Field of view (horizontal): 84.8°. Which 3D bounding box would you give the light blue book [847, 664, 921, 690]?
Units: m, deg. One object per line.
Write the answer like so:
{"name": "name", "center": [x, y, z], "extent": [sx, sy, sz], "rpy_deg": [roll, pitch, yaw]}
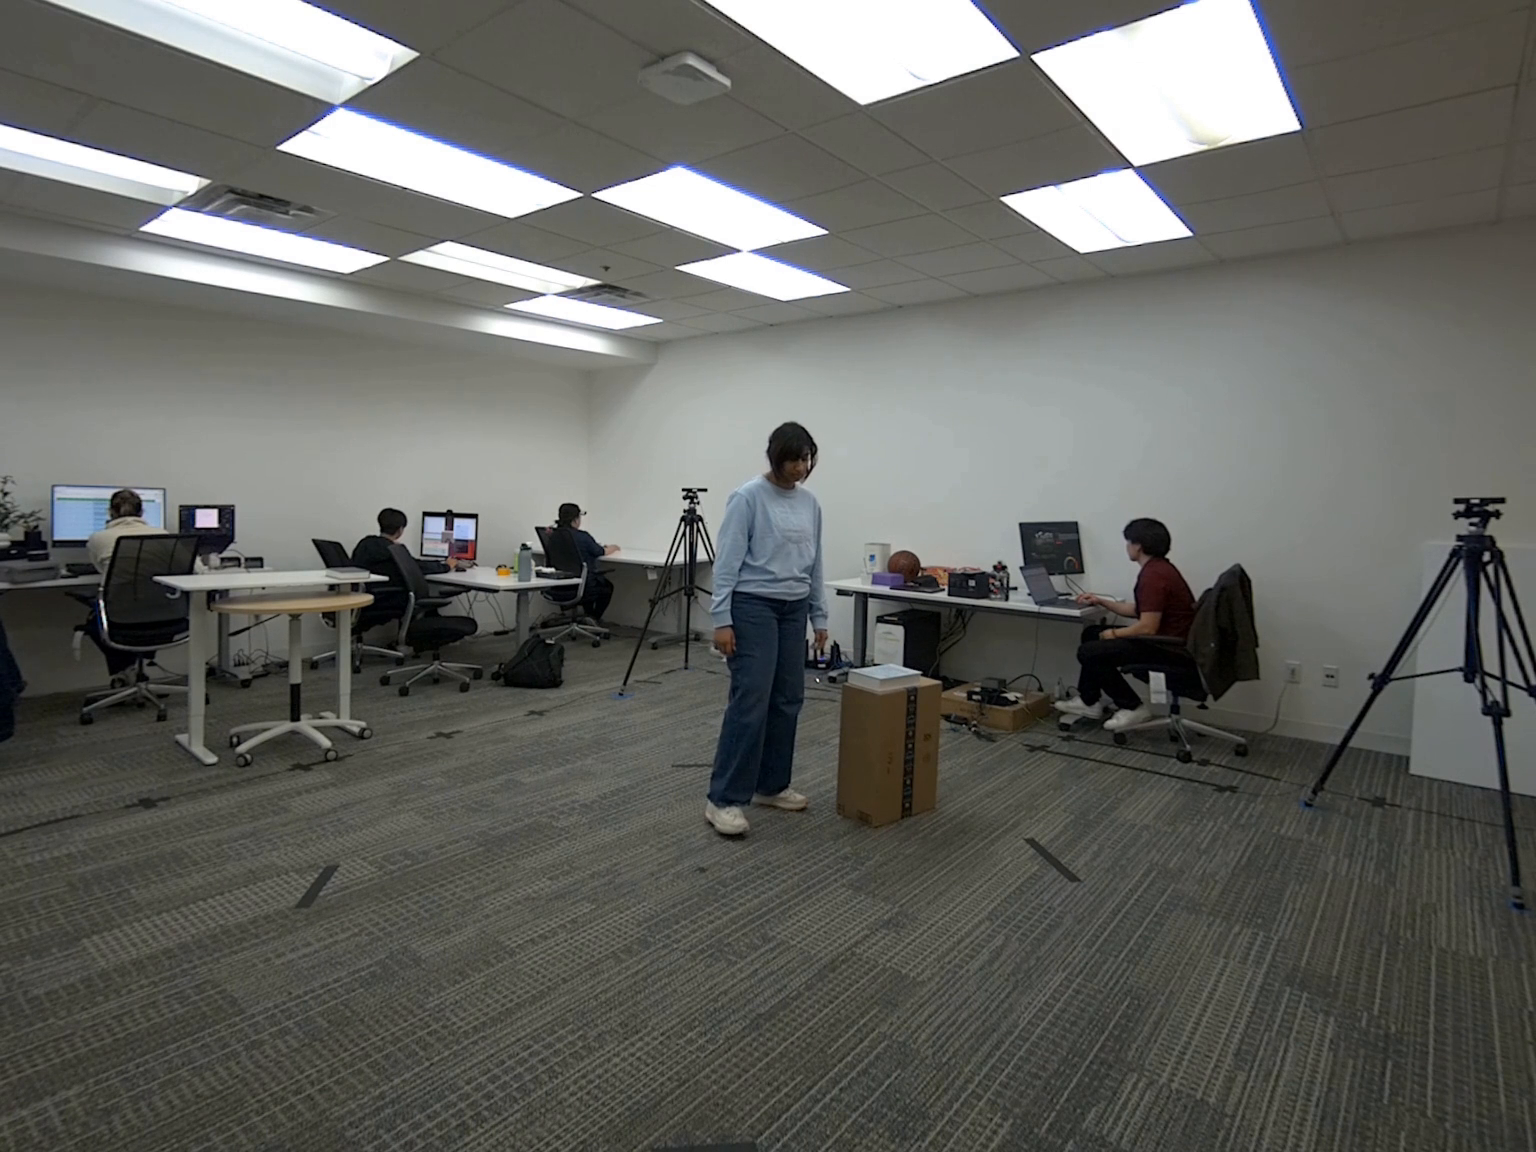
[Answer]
{"name": "light blue book", "center": [0.497, 0.436, 3.667], "extent": [0.253, 0.059, 0.198], "rpy_deg": [-3, 9, -38]}
